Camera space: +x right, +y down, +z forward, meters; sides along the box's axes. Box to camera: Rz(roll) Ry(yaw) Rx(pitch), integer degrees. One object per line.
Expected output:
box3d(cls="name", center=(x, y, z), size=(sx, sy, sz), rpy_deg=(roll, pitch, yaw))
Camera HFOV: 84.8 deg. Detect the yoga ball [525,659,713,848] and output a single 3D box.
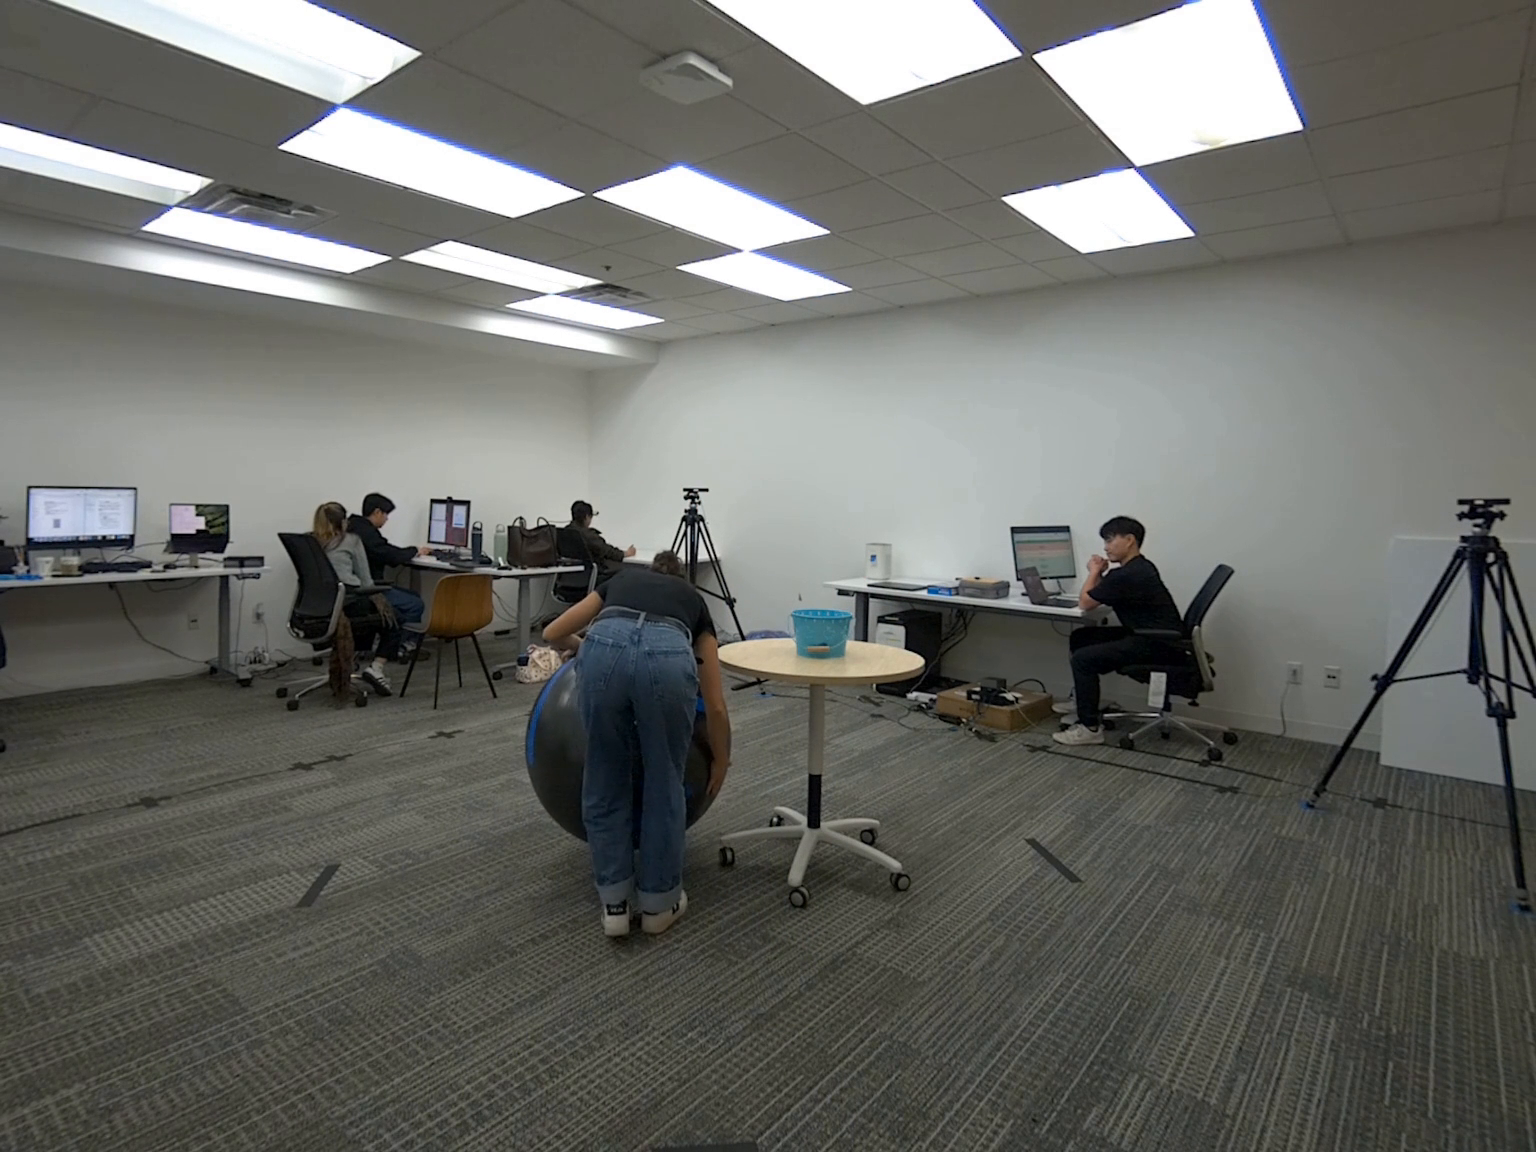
box3d(cls="yoga ball", center=(-0.520, 0.618, 3.157), size=(0.757, 0.755, 0.762), rpy_deg=(1, 4, -2))
